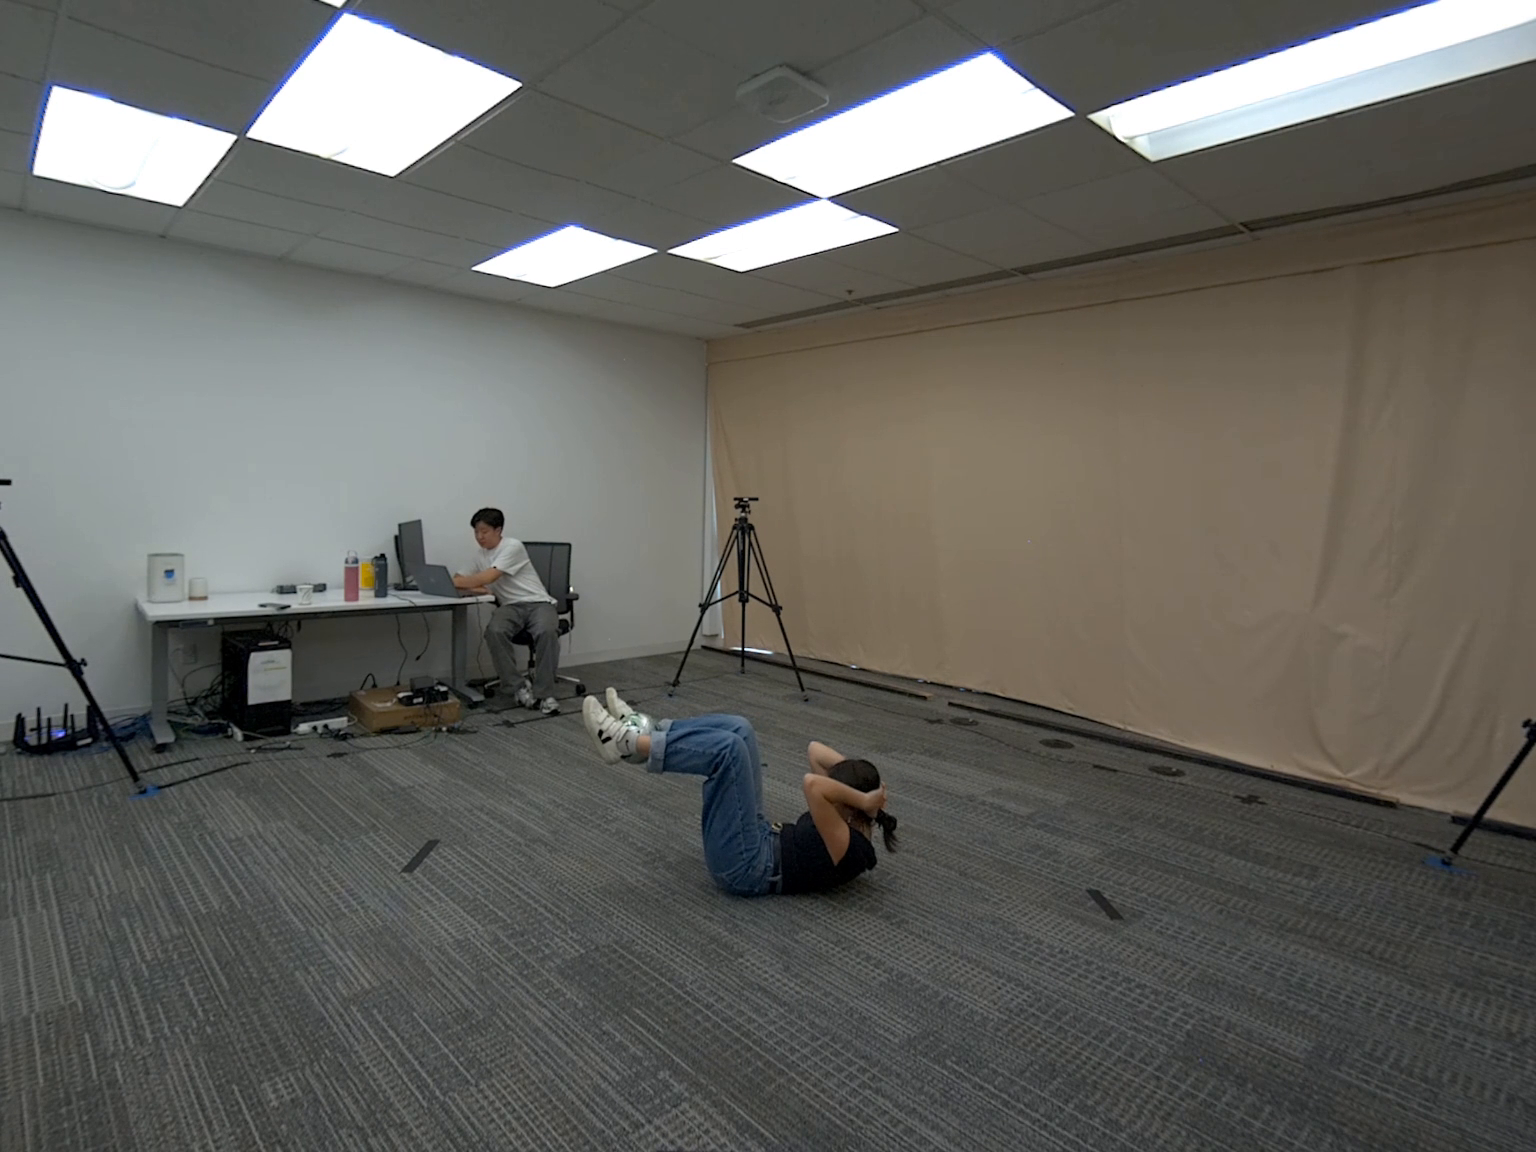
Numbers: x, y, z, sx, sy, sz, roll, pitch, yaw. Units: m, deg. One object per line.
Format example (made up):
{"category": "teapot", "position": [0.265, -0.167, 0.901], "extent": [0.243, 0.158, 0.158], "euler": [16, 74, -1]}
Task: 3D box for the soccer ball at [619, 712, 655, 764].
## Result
{"category": "soccer ball", "position": [-0.493, 0.605, 3.099], "extent": [0.187, 0.186, 0.188], "euler": [1, 7, -1]}
